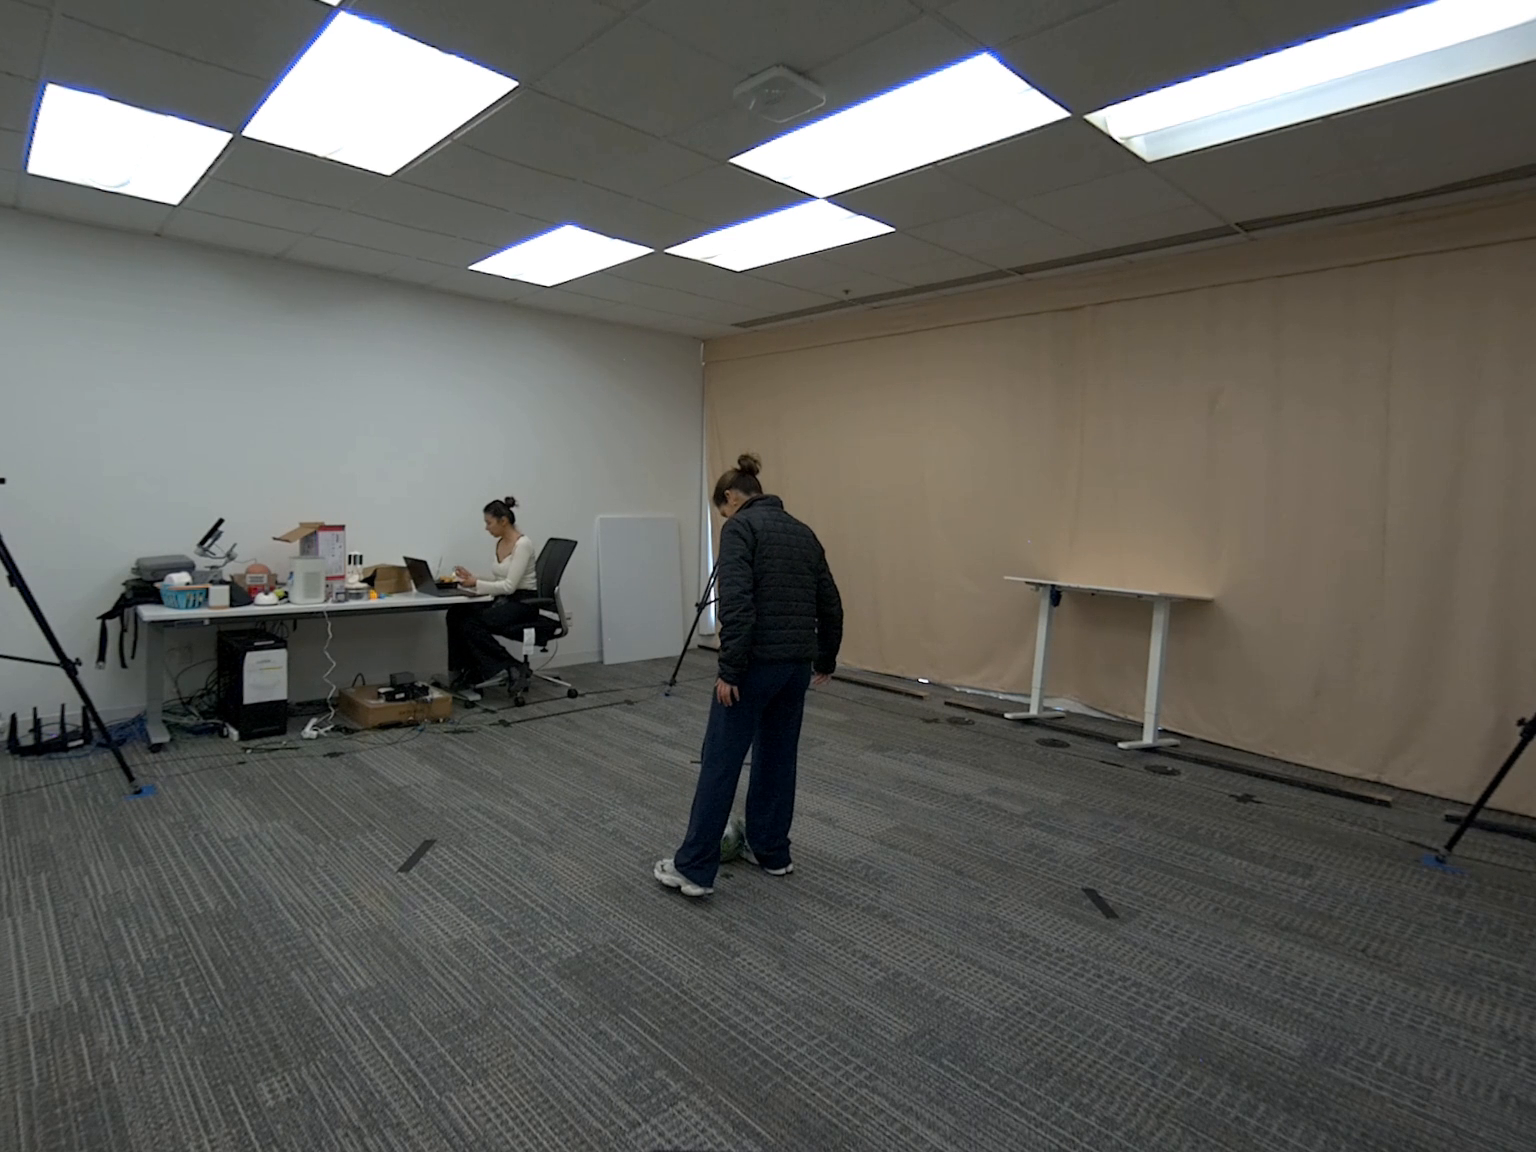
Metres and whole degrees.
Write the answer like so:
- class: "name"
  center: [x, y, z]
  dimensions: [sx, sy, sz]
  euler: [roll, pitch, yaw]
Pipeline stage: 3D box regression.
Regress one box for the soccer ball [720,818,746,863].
- class: "soccer ball"
  center: [-0.178, 1.002, 3.244]
  dimensions: [0.187, 0.187, 0.188]
  euler: [1, 4, -1]
